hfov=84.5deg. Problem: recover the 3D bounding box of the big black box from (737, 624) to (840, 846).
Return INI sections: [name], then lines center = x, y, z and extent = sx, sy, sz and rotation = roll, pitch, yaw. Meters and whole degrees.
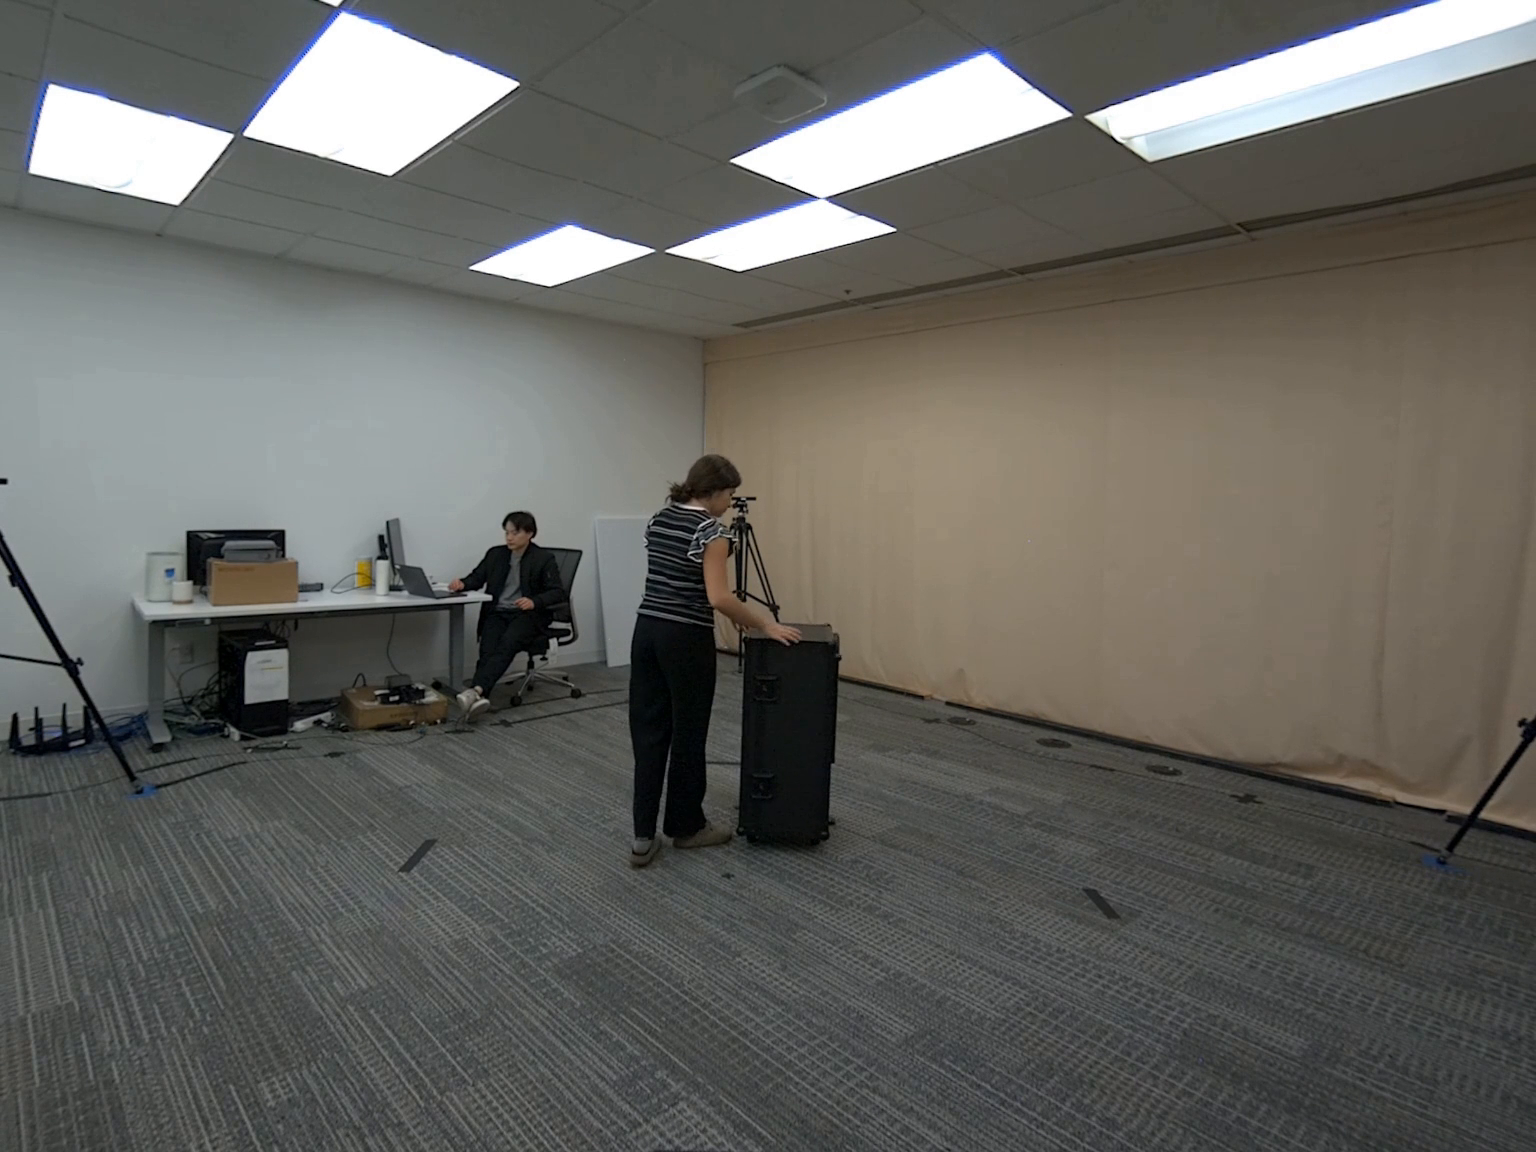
[big black box]
center = 0.078, 0.651, 3.515
extent = 0.398, 0.859, 0.520
rotation = 3, 4, 5
